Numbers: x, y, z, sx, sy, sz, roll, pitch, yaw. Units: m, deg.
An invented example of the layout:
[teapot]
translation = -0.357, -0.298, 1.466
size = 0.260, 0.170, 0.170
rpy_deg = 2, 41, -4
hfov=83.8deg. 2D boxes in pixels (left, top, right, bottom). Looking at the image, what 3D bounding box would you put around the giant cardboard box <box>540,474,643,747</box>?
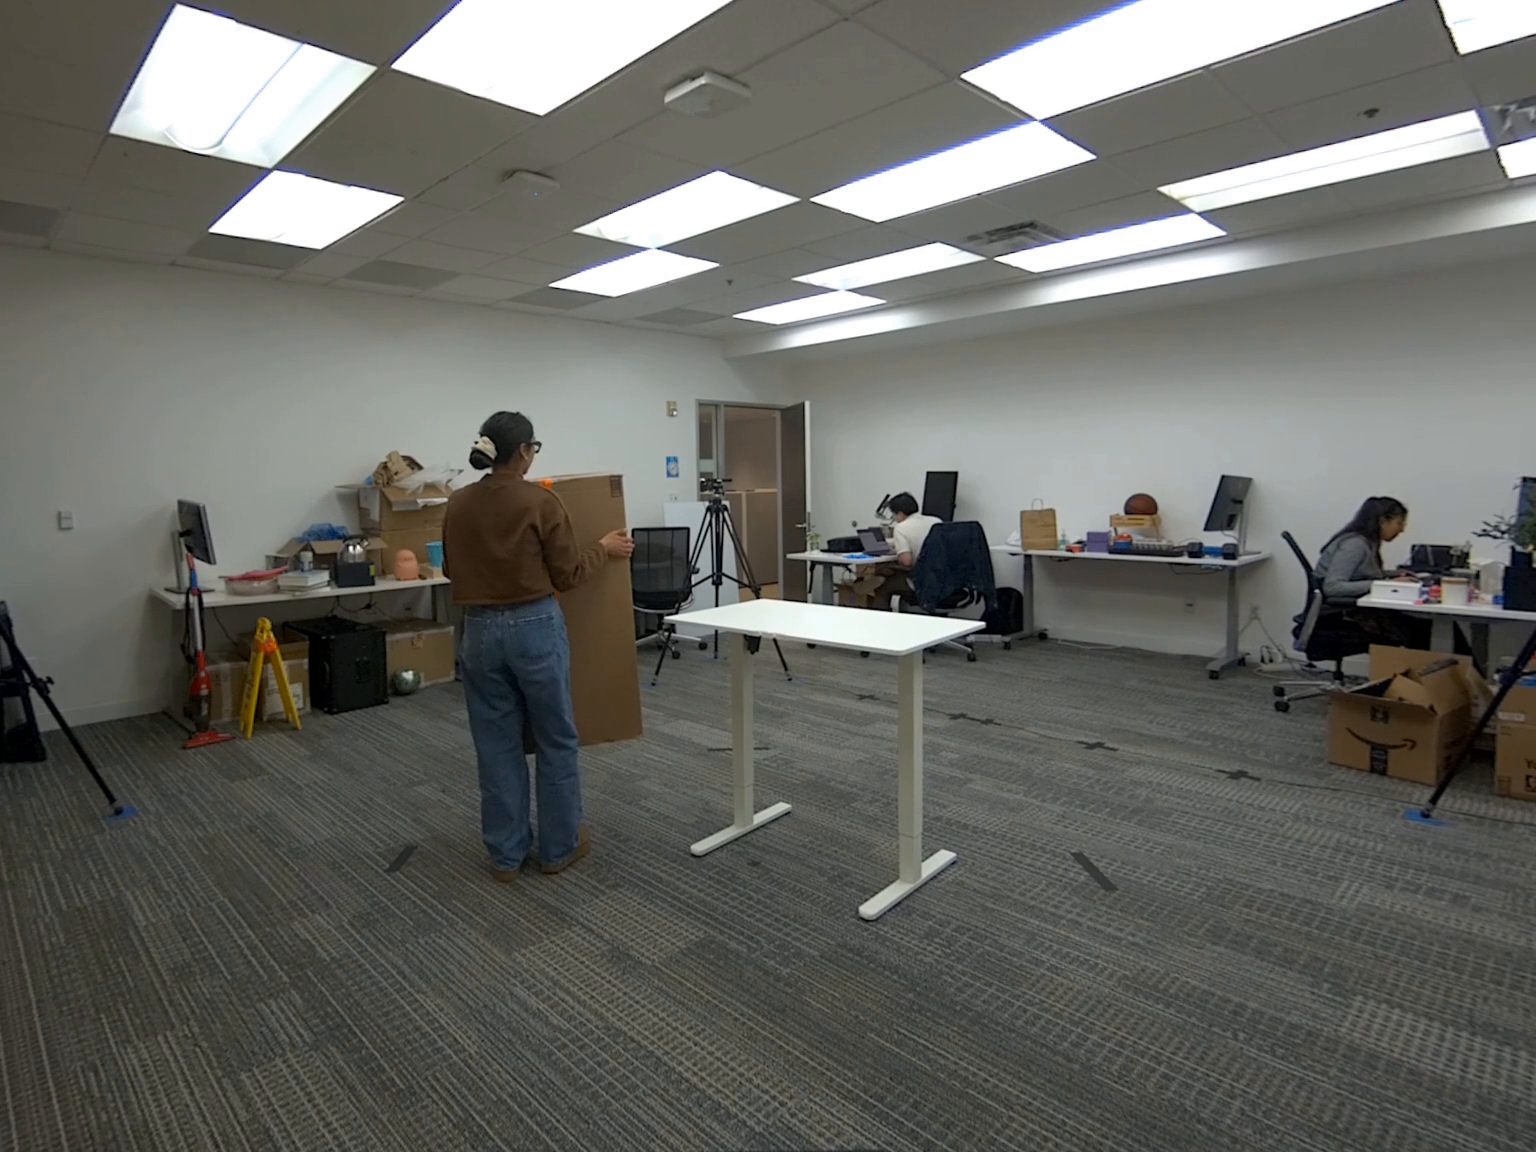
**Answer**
[giant cardboard box]
translation = -0.843, 0.125, 3.399
size = 0.571, 1.019, 0.434
rpy_deg = -6, 7, -14
